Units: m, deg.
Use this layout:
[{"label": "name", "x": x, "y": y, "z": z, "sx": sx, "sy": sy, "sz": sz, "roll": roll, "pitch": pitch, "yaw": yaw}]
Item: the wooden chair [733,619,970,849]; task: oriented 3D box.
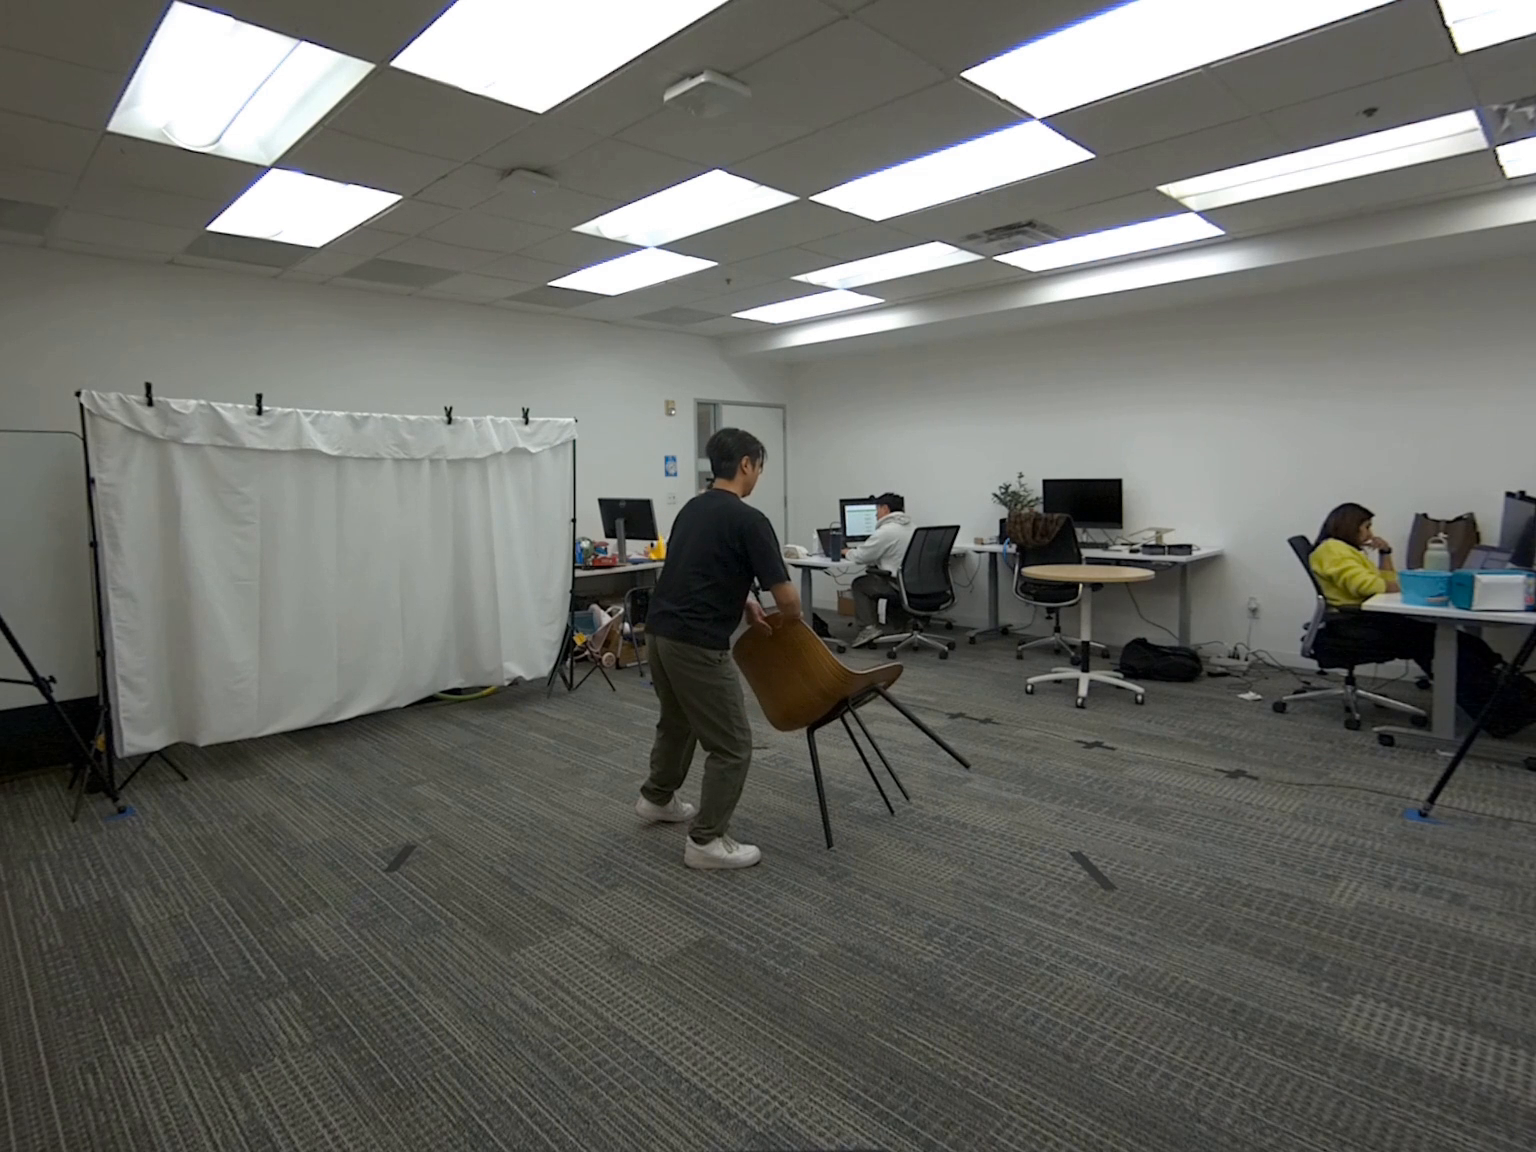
[{"label": "wooden chair", "x": 0.298, "y": 0.530, "z": 3.403, "sx": 0.511, "sy": 0.898, "sz": 0.478, "roll": -12, "pitch": -28, "yaw": -50}]
